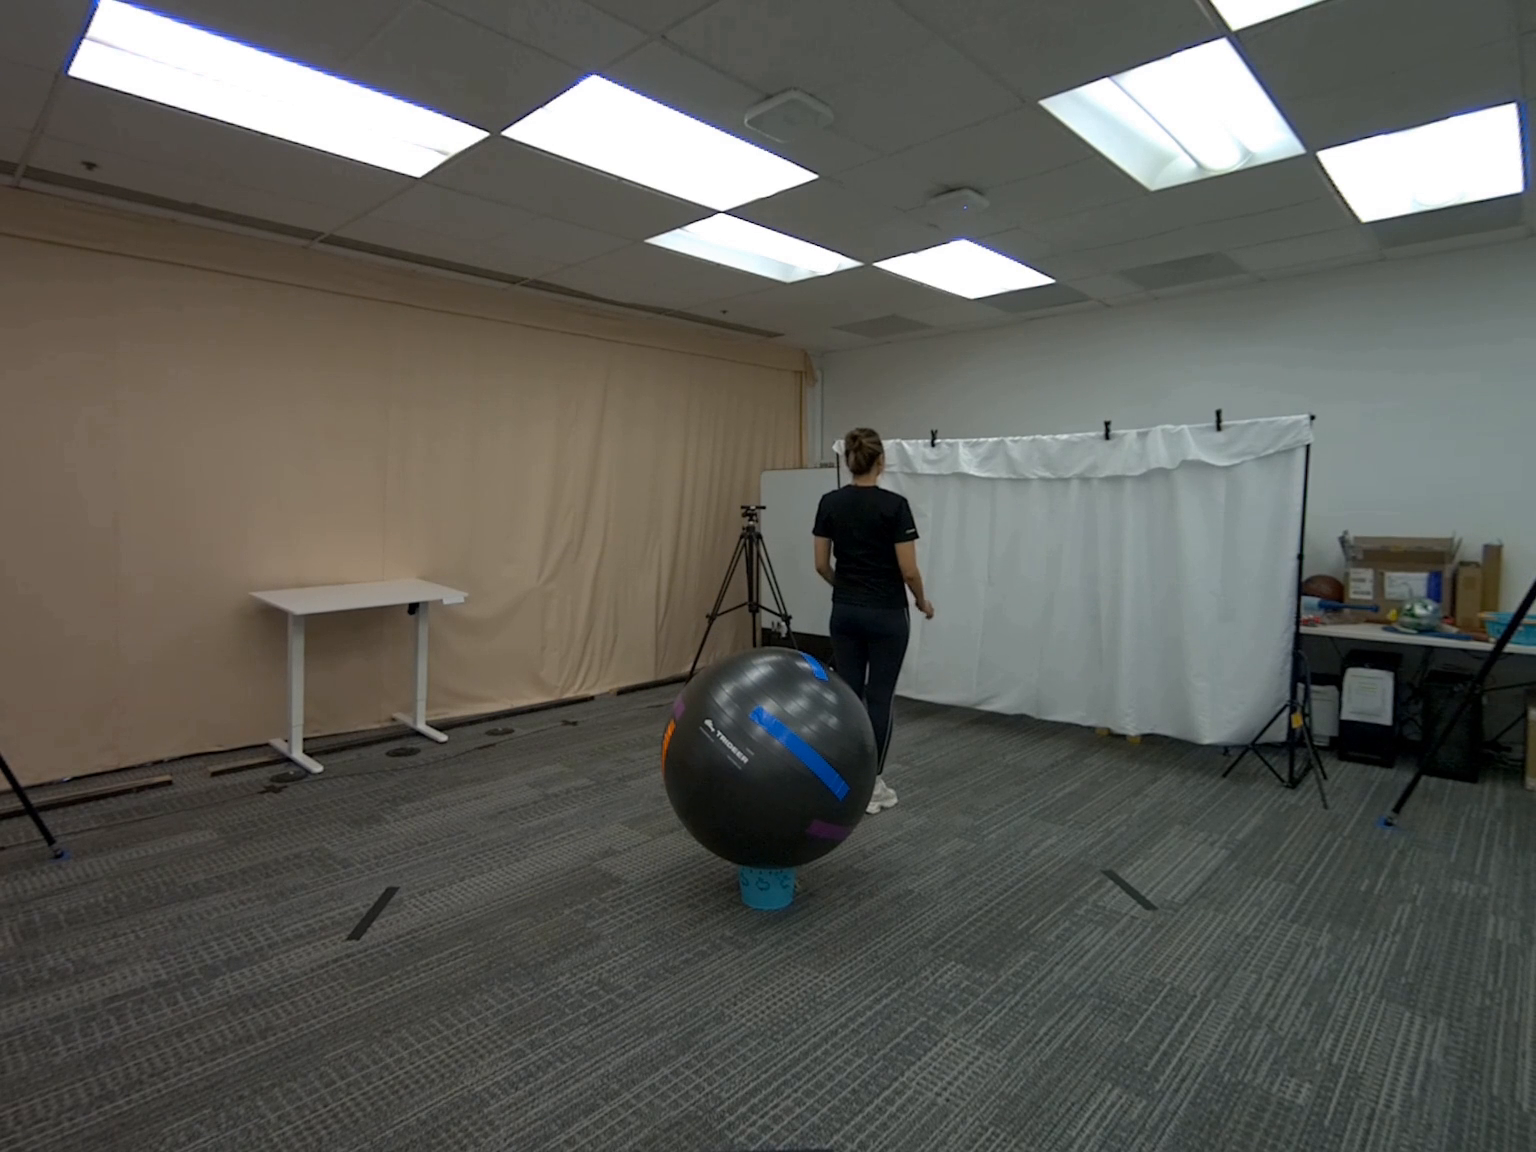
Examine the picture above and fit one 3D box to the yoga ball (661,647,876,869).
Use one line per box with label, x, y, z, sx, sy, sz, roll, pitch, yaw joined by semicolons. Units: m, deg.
yoga ball;0.006;0.635;2.967;0.757;0.756;0.760;0;4;-2
